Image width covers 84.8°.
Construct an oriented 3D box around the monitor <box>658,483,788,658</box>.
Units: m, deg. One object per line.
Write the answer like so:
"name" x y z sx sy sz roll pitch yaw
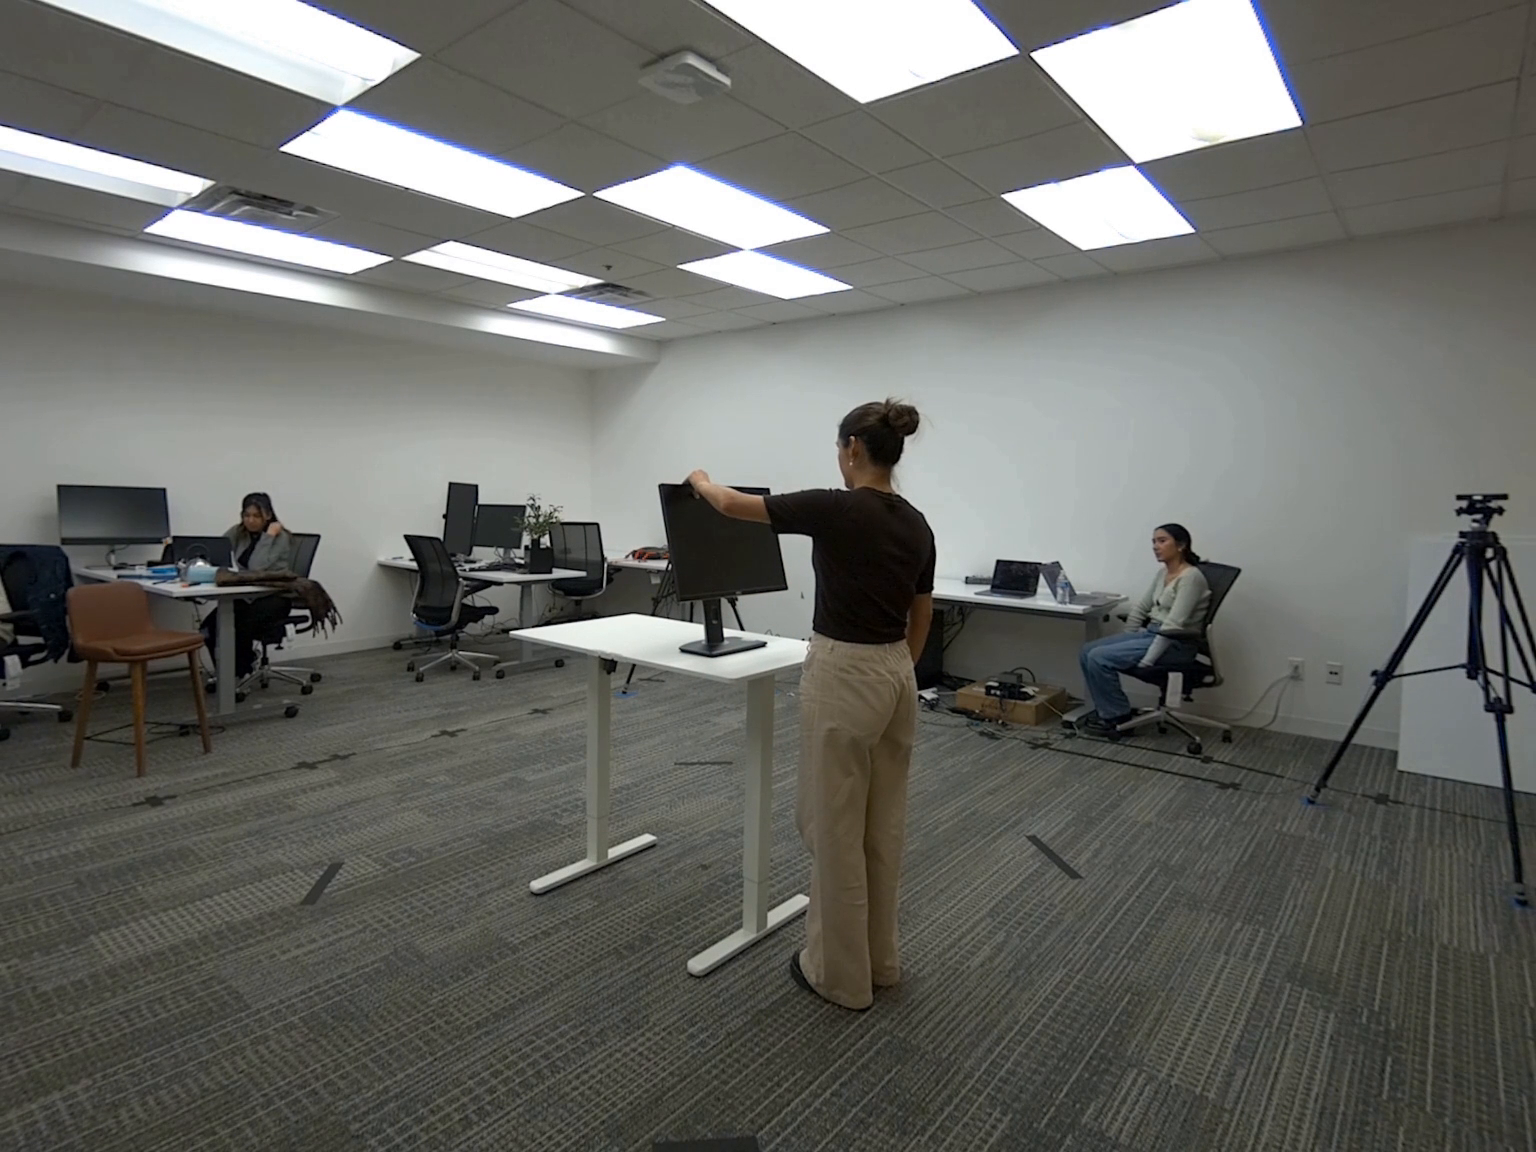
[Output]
"monitor" -0.160 -0.023 2.686 0.193 0.522 0.523 0 2 36
